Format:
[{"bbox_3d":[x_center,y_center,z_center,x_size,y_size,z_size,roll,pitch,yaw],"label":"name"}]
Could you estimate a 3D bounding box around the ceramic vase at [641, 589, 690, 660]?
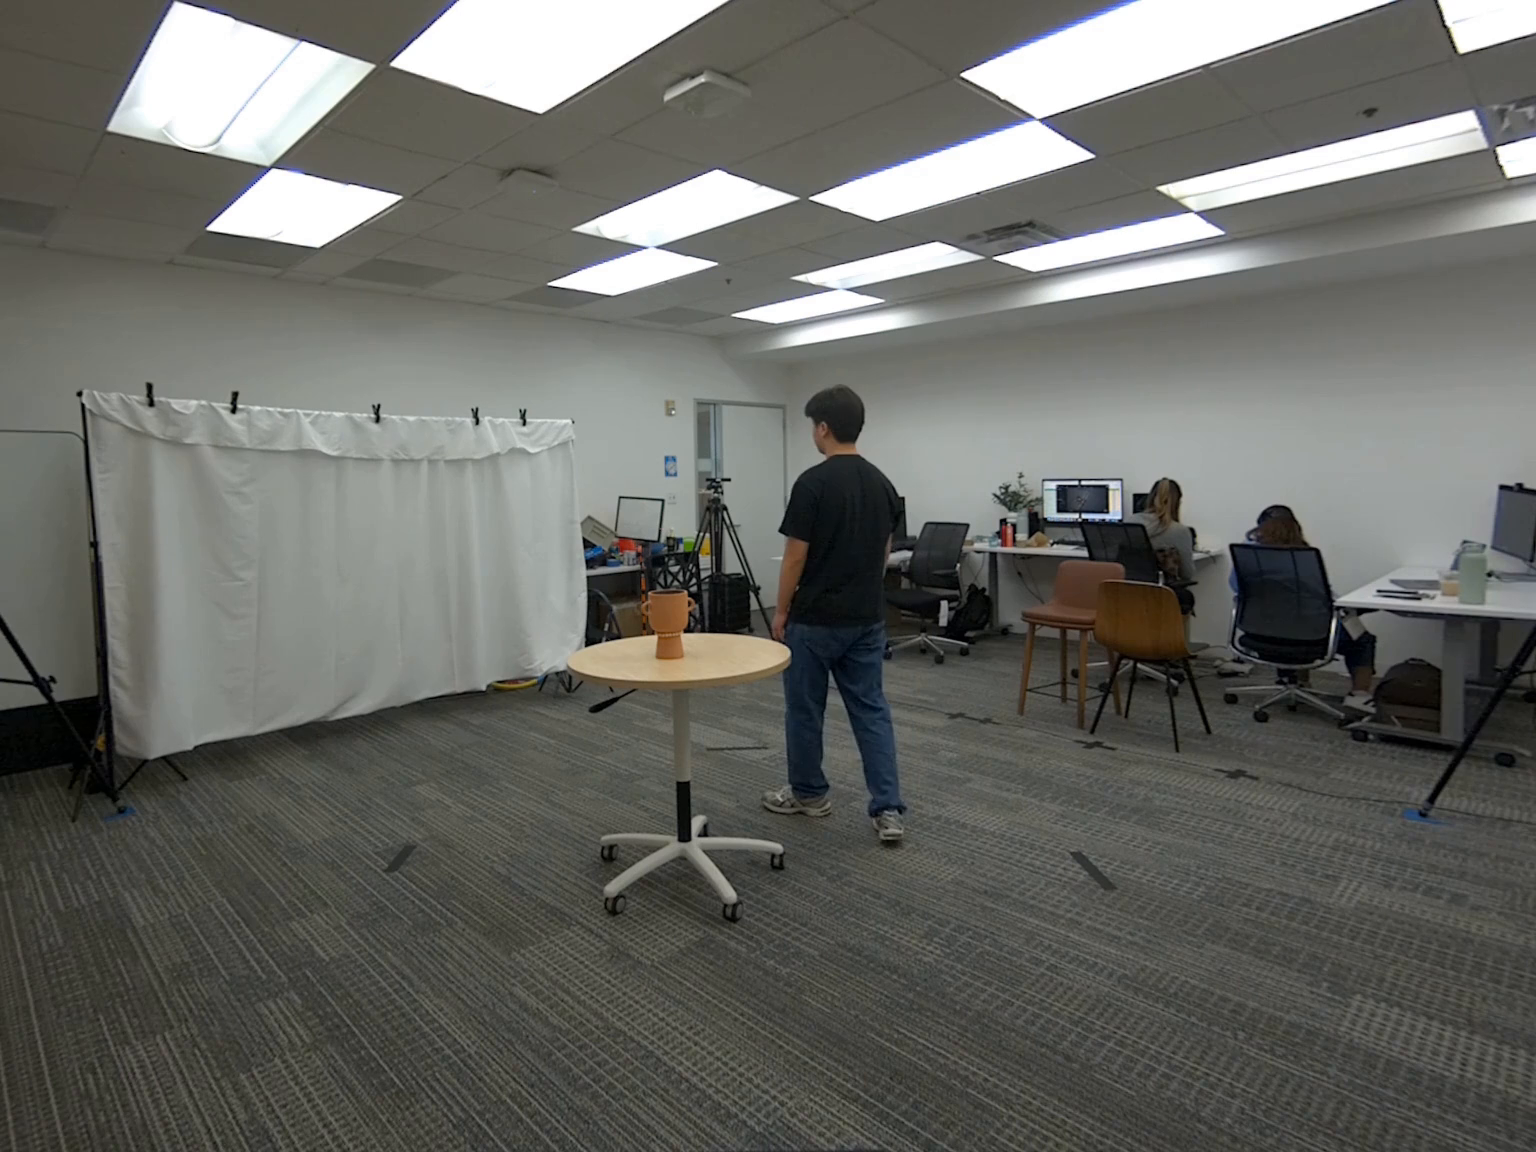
[{"bbox_3d":[-0.338,0.168,2.898,0.161,0.219,0.134,-1,6,11],"label":"ceramic vase"}]
